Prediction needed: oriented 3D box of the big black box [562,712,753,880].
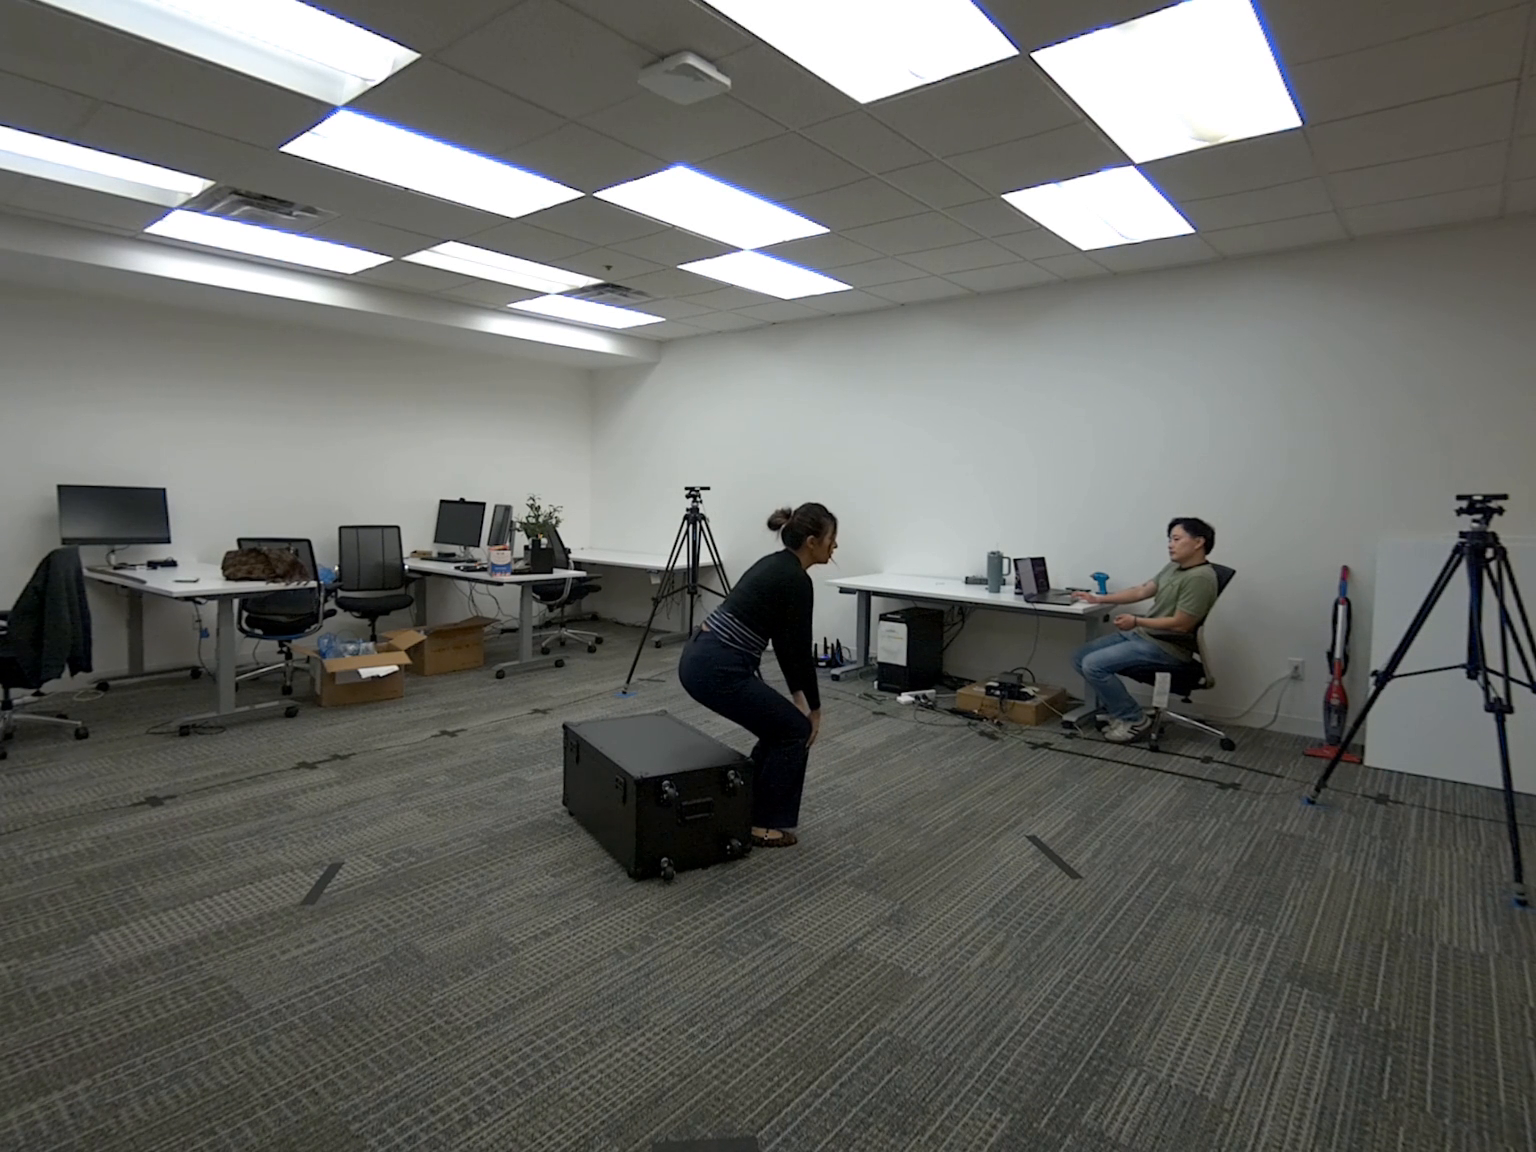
[{"bbox_3d":[-0.494,0.837,3.440,0.507,0.395,0.888,-2,6,-31],"label":"big black box"}]
